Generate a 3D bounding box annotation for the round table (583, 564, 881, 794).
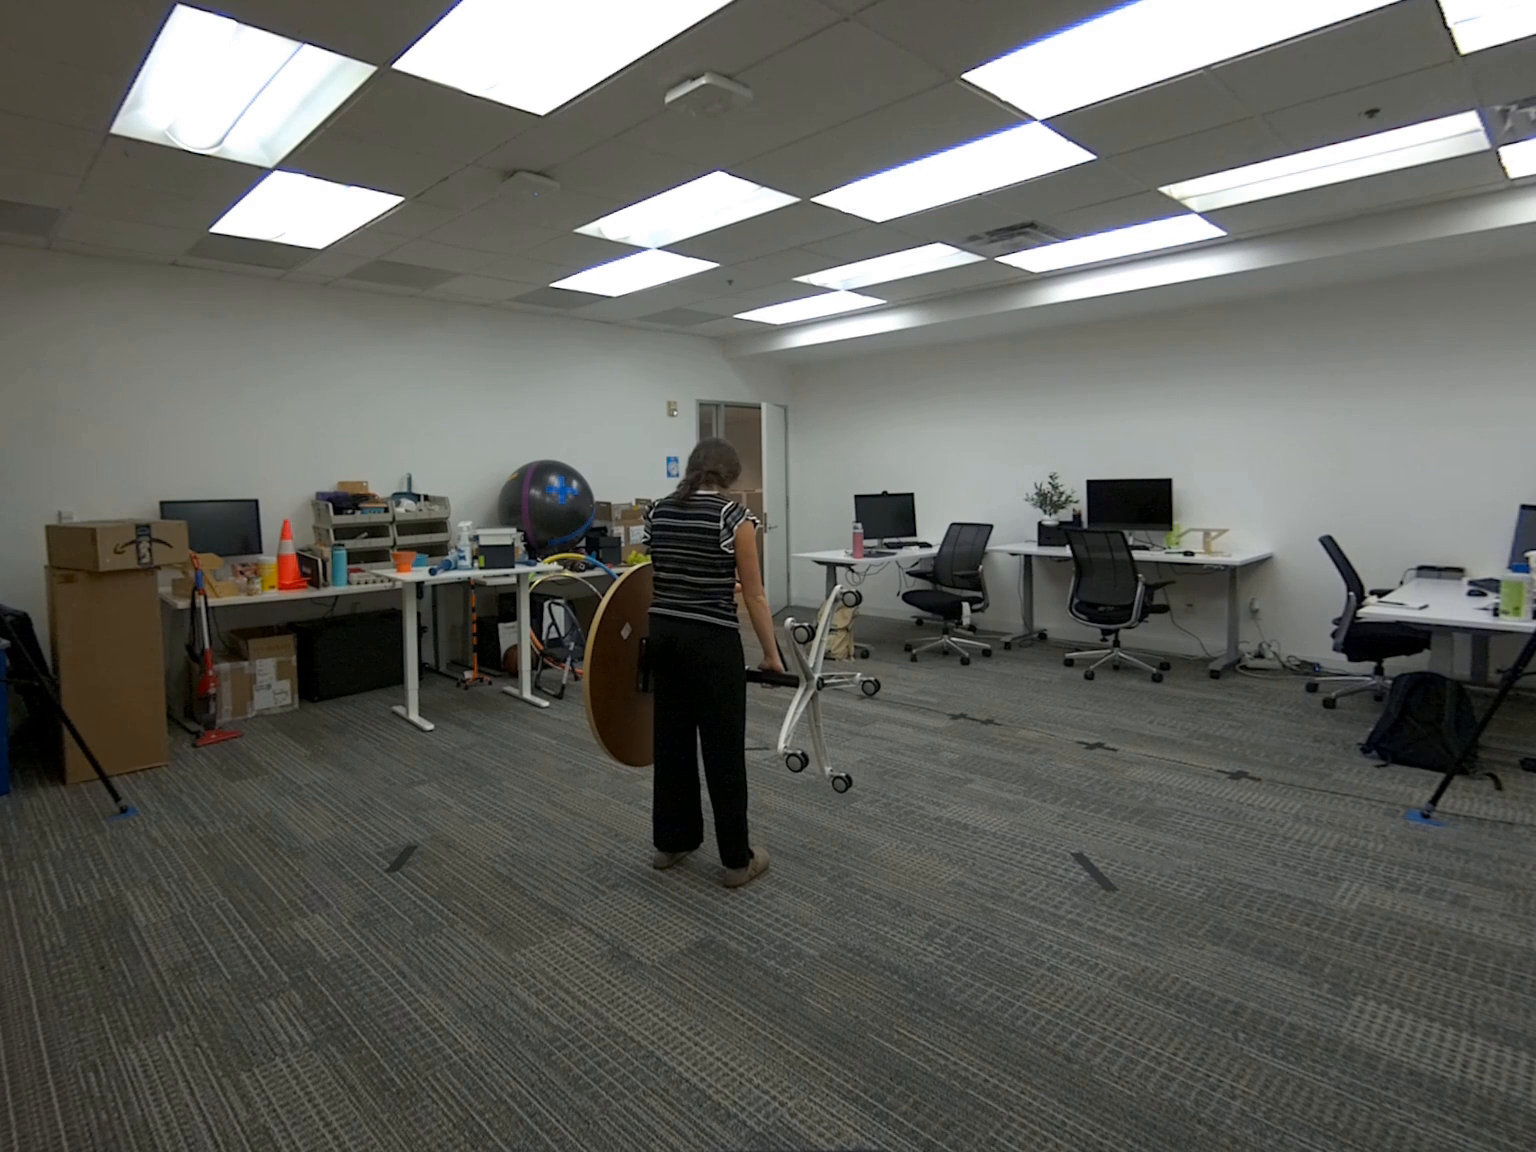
[{"bbox_3d":[-0.098,0.357,3.033,0.815,0.761,0.747,3,6,30],"label":"round table"}]
